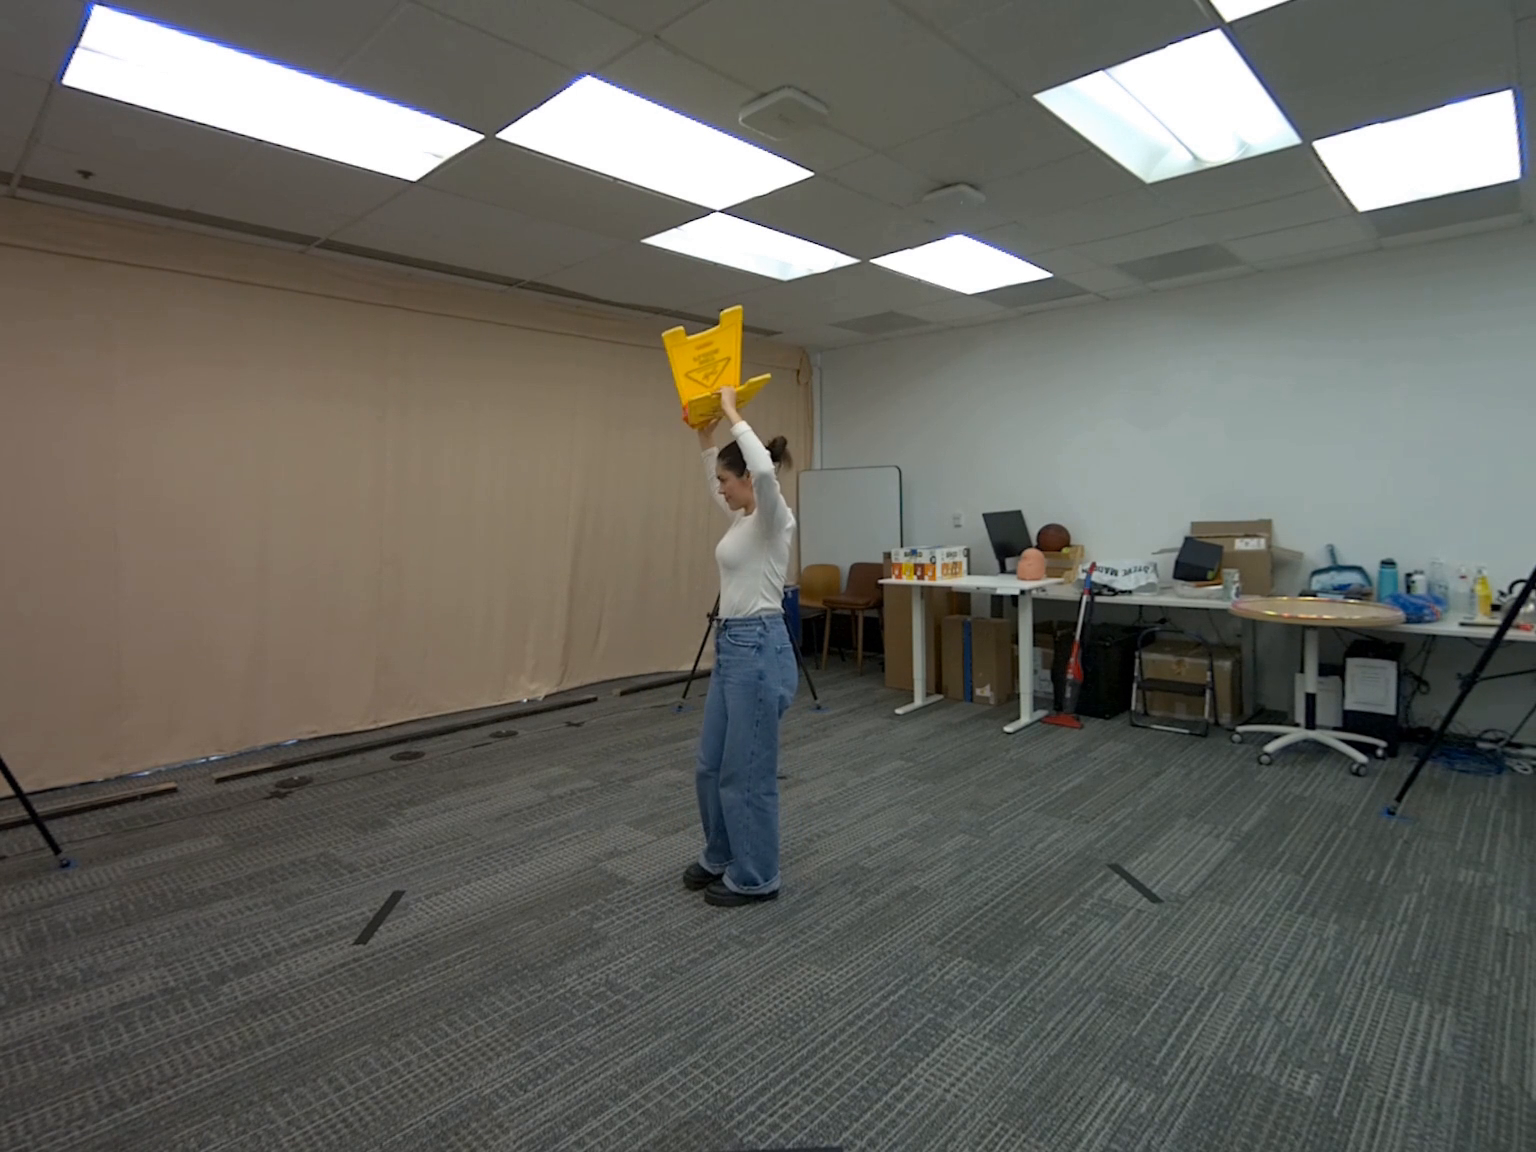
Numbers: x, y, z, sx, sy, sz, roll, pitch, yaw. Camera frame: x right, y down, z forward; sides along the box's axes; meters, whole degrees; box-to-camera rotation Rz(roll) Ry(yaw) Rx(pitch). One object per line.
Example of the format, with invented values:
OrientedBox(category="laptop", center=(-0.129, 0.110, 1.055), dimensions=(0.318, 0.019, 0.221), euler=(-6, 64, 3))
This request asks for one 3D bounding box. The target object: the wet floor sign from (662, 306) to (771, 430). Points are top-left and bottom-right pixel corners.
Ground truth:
OrientedBox(category="wet floor sign", center=(-0.192, -0.665, 3.021), dimensions=(0.281, 0.292, 0.644), euler=(-21, -5, -6))
